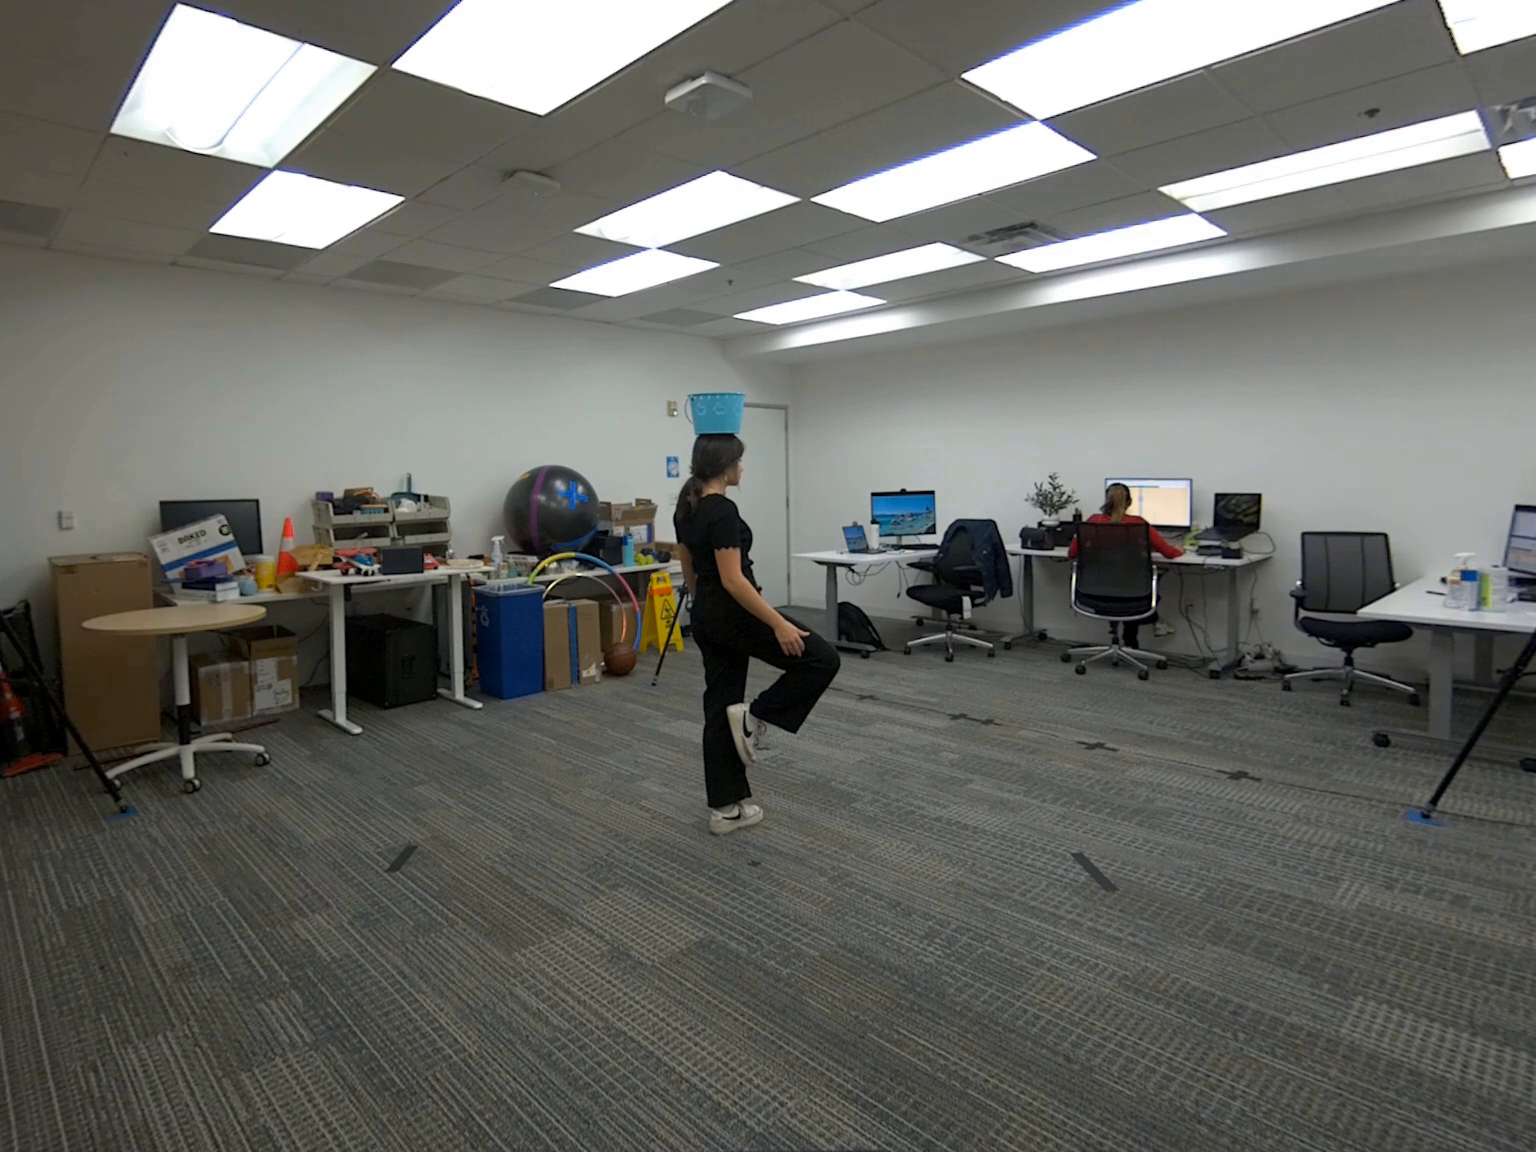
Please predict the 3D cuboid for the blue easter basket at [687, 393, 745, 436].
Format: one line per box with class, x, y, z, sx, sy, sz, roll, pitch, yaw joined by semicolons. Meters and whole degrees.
blue easter basket;-0.210;-0.639;3.363;0.243;0.155;0.245;-1;6;-2
